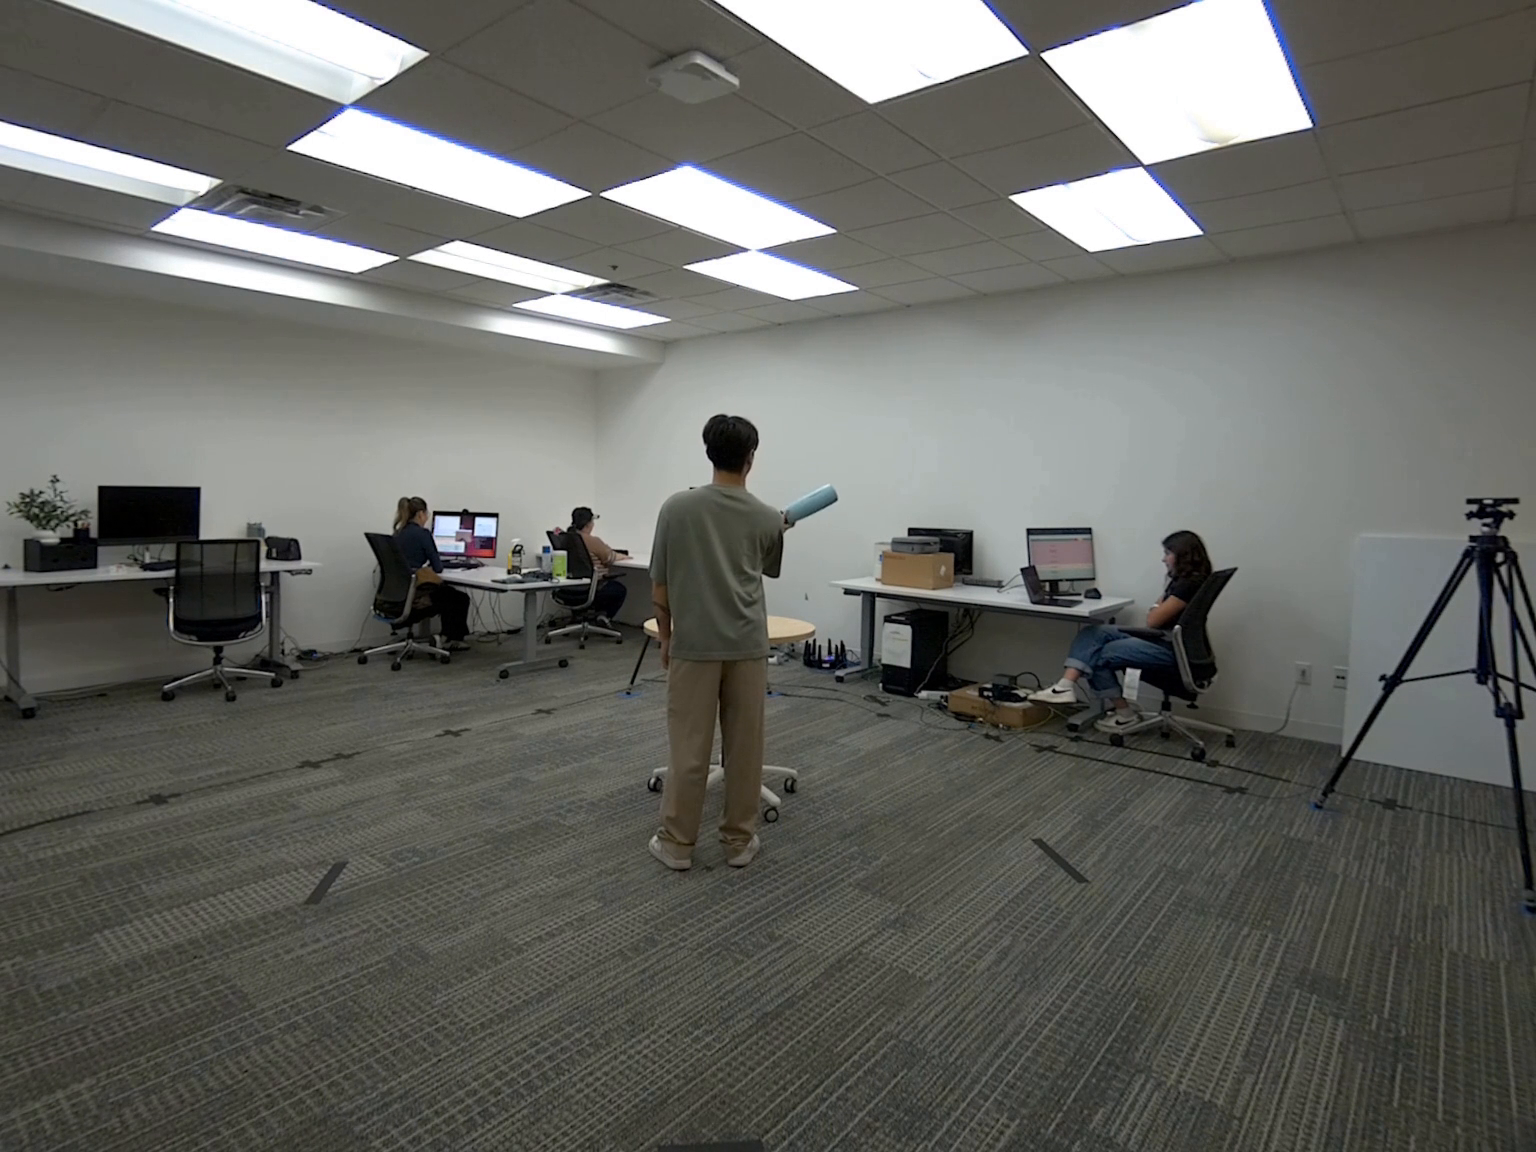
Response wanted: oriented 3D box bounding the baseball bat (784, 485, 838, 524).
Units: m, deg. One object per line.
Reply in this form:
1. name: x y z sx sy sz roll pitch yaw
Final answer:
1. baseball bat: 0.042 -0.256 3.692 0.541 0.088 0.090 -29 9 -6
